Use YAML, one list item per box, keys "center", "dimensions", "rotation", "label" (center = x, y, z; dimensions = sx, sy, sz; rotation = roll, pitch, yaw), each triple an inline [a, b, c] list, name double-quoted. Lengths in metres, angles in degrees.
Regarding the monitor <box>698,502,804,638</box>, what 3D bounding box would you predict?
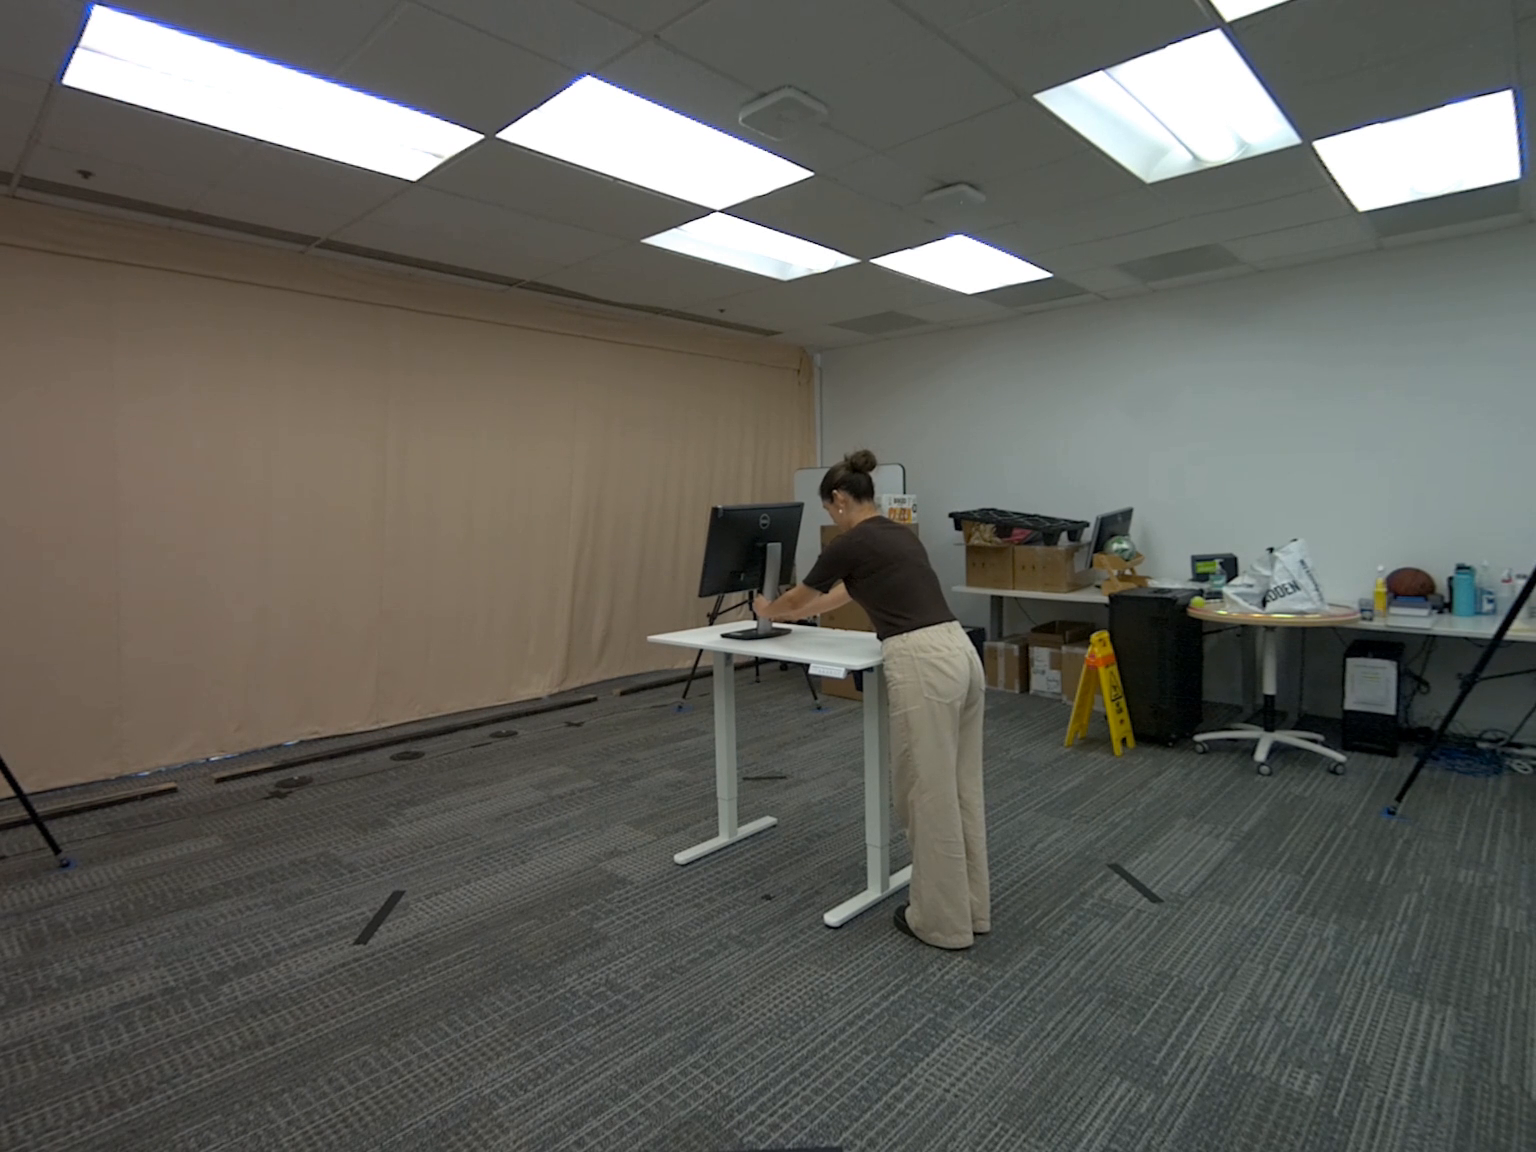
- center: [-0.034, -0.023, 3.285]
  dimensions: [0.180, 0.515, 0.514]
  rotation: [-2, 4, 41]
  label: "monitor"
